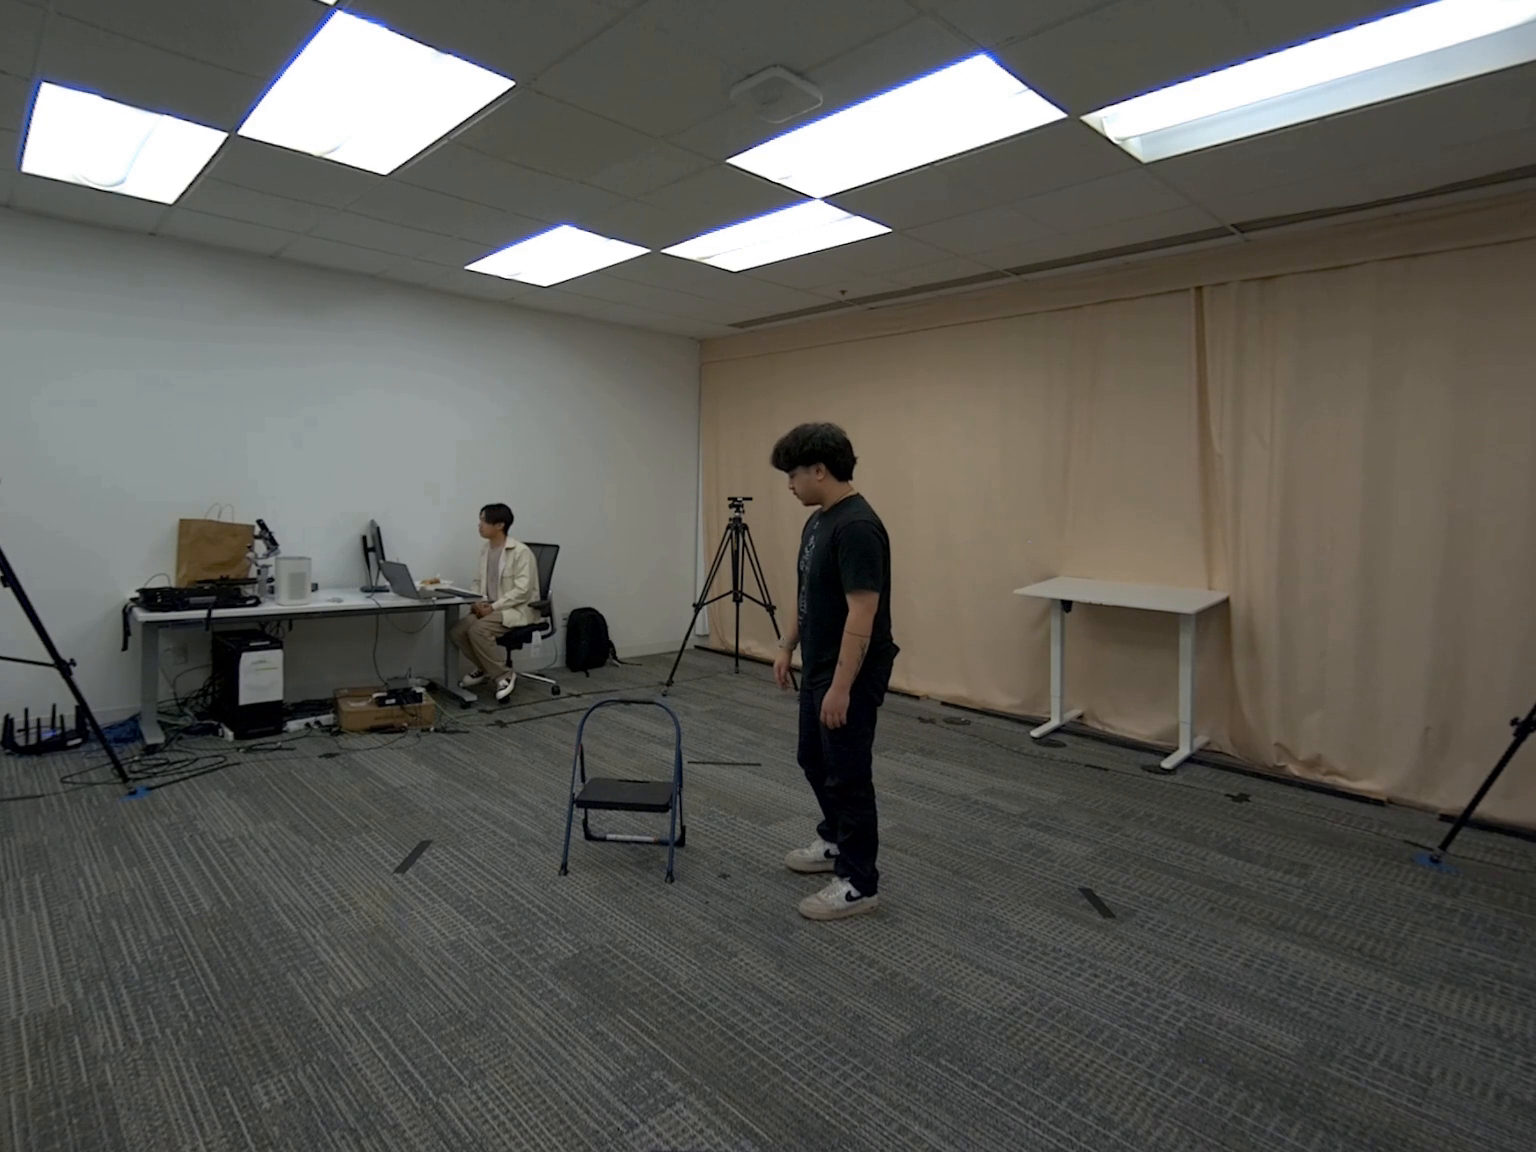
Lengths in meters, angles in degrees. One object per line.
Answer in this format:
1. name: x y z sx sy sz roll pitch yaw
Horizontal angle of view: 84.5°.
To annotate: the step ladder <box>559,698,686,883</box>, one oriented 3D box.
1. step ladder: -0.542 0.784 3.216 0.432 0.604 0.349 2 4 4
